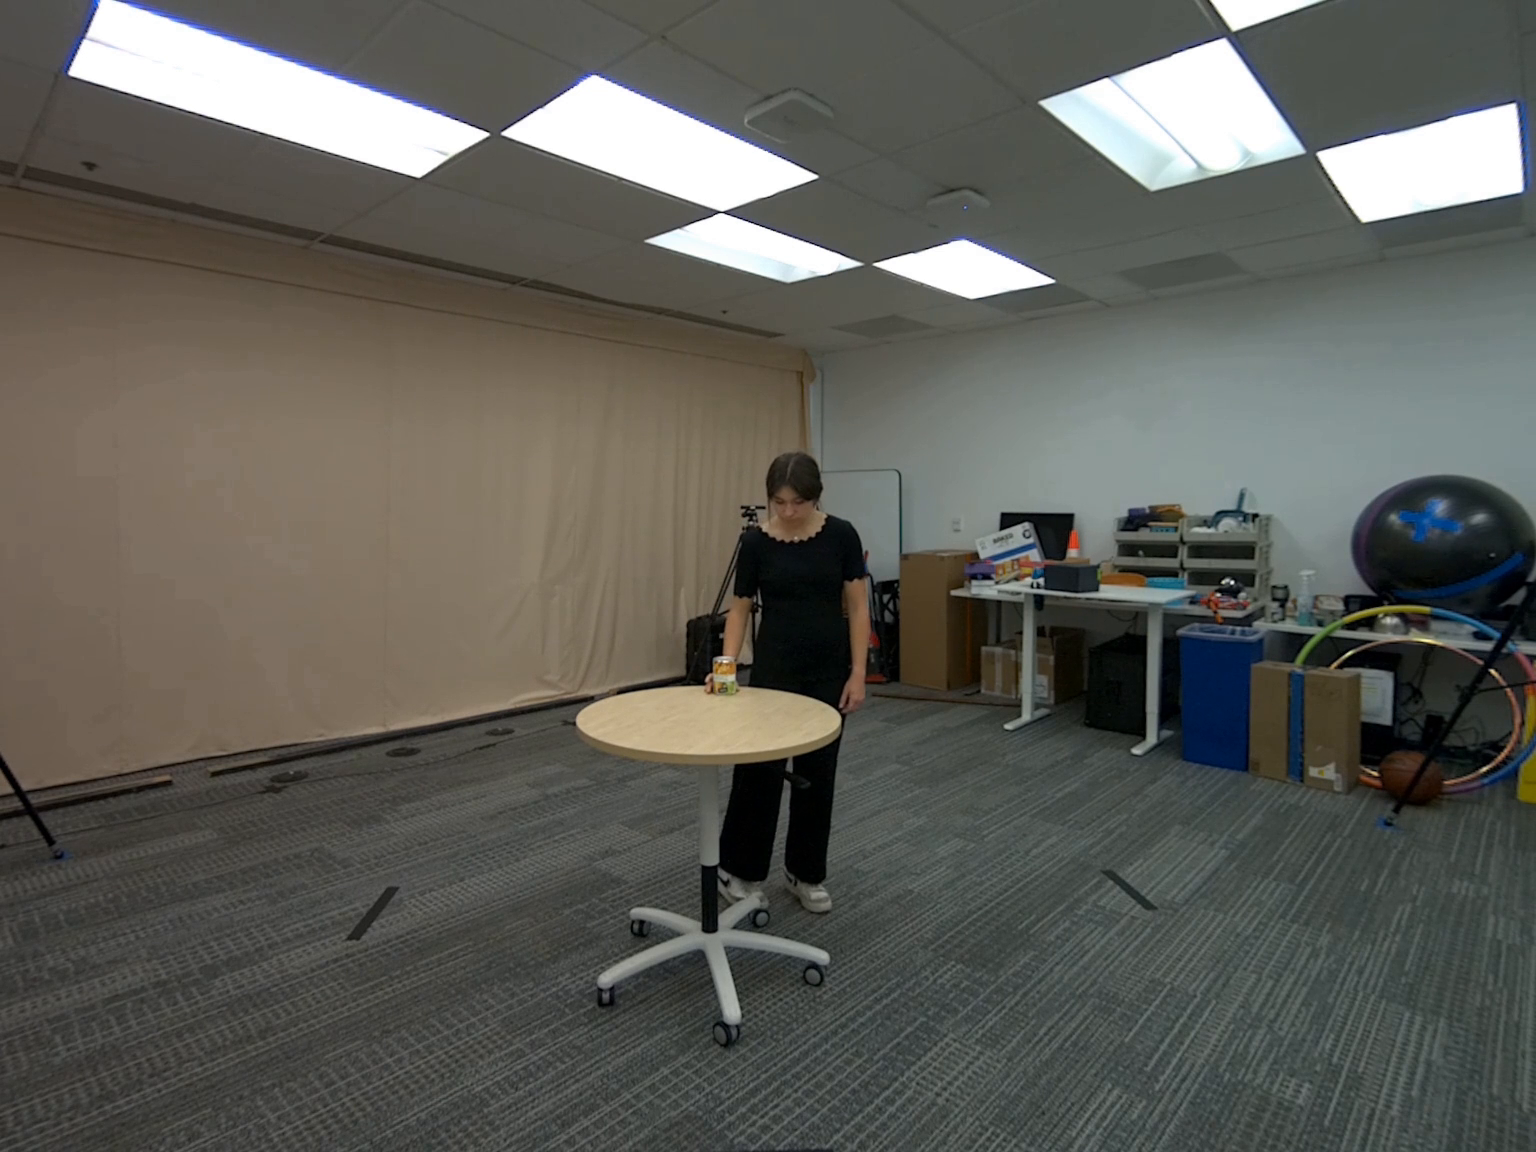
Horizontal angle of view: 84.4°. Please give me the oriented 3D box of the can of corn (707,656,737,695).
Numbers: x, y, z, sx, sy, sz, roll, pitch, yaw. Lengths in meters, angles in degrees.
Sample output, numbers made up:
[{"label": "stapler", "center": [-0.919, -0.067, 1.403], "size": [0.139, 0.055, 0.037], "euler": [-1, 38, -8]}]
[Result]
[{"label": "can of corn", "center": [-0.128, 0.323, 2.731], "size": [0.074, 0.111, 0.074], "euler": [-3, 2, -2]}]
